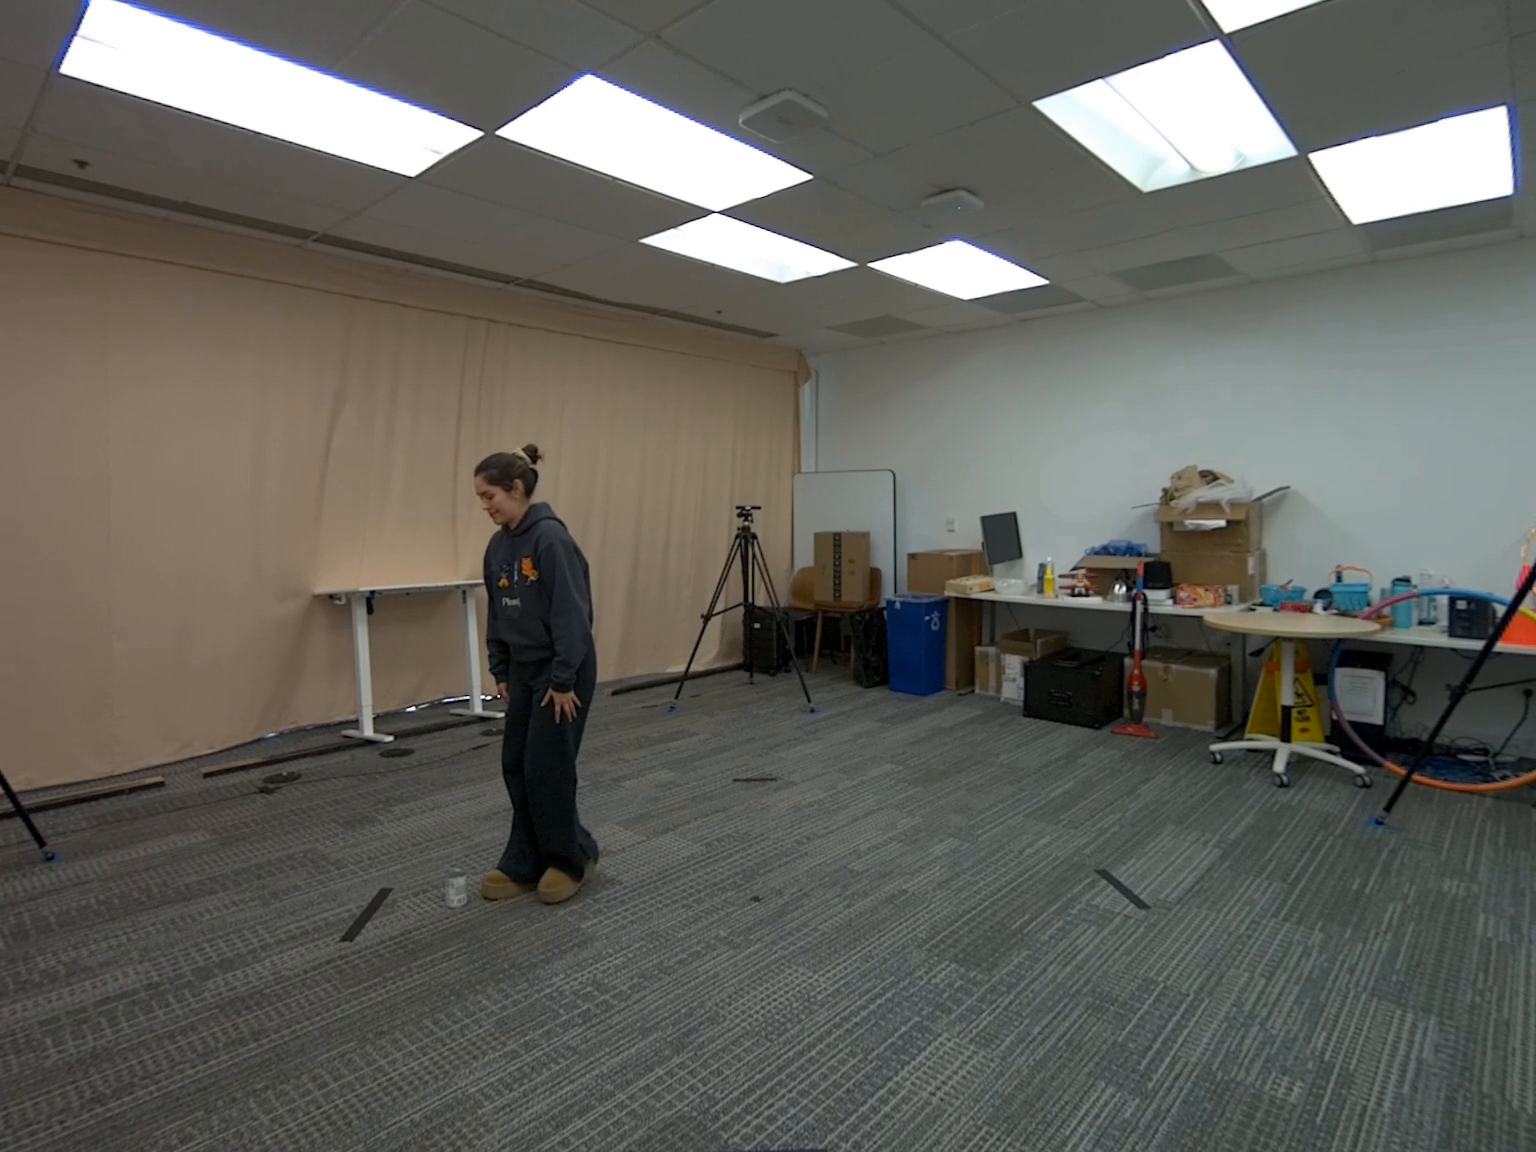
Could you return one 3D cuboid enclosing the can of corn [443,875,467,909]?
[{"bbox_3d":[-1.082,1.119,2.964,0.074,0.111,0.074,4,4,-2],"label":"can of corn"}]
